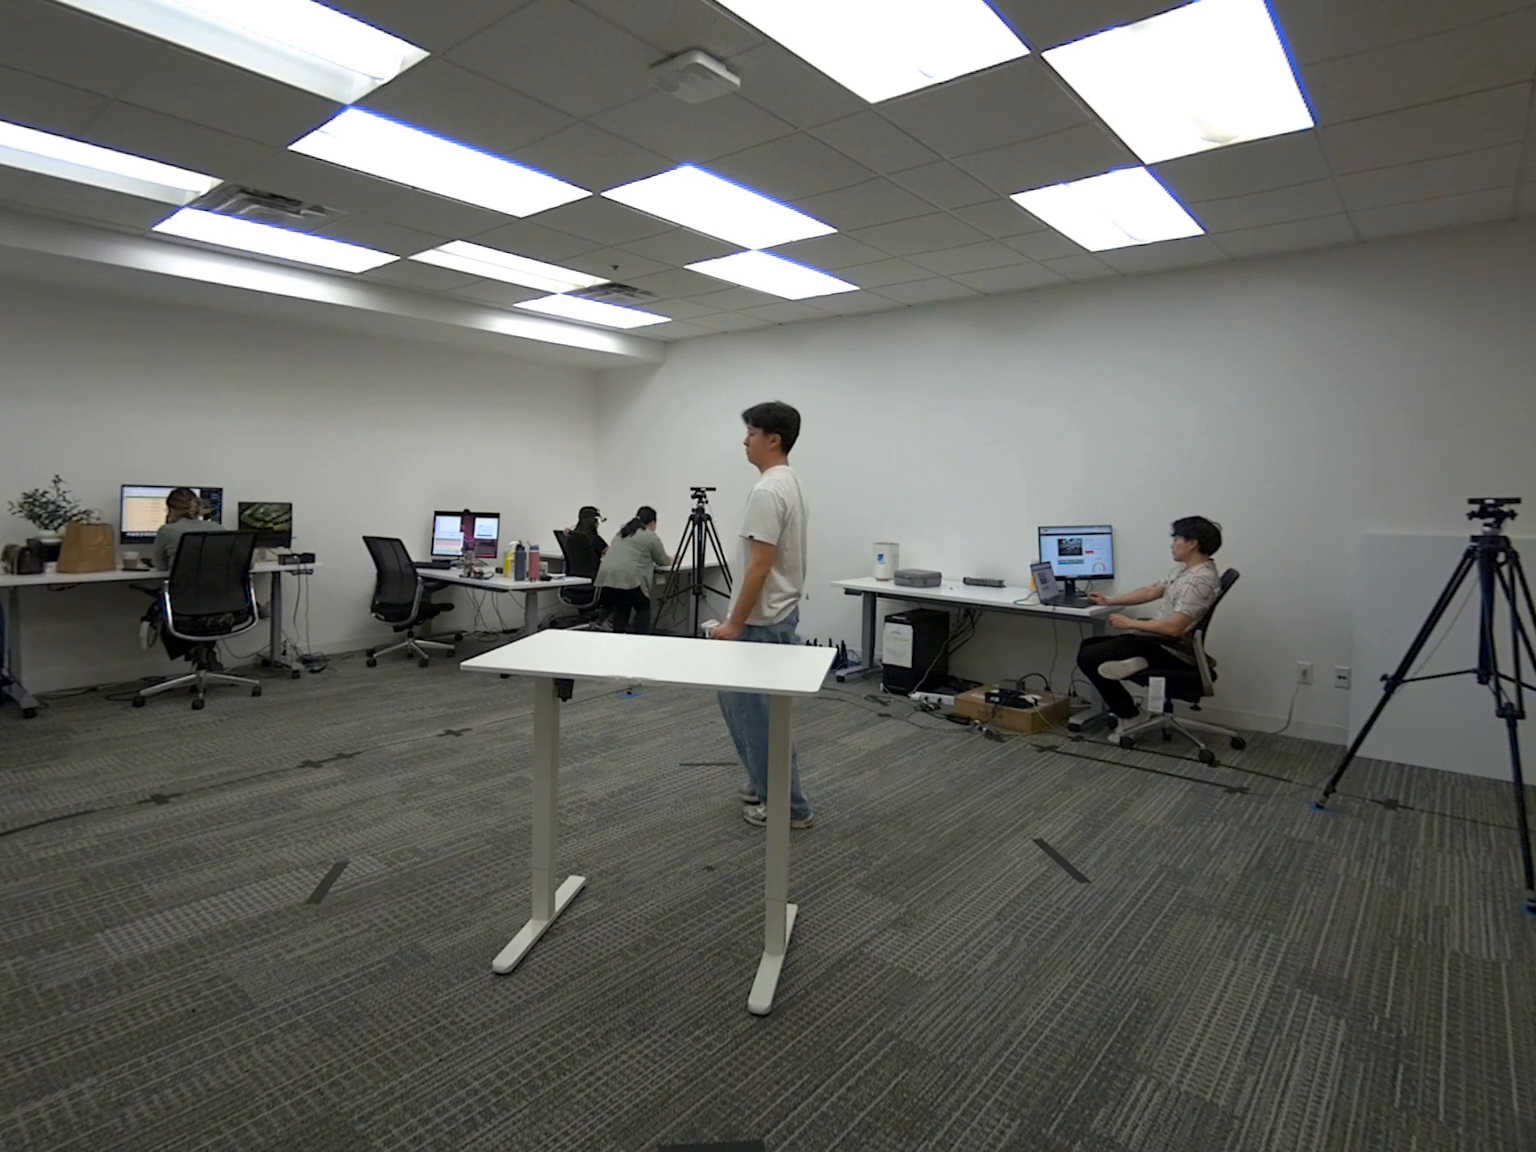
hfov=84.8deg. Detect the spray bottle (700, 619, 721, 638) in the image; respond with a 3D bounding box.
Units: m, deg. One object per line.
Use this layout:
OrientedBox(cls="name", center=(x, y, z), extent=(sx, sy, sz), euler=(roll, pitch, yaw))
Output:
OrientedBox(cls="spray bottle", center=(-0.182, 0.309, 3.322), extent=(0.089, 0.296, 0.088), euler=(-19, 3, -23))
